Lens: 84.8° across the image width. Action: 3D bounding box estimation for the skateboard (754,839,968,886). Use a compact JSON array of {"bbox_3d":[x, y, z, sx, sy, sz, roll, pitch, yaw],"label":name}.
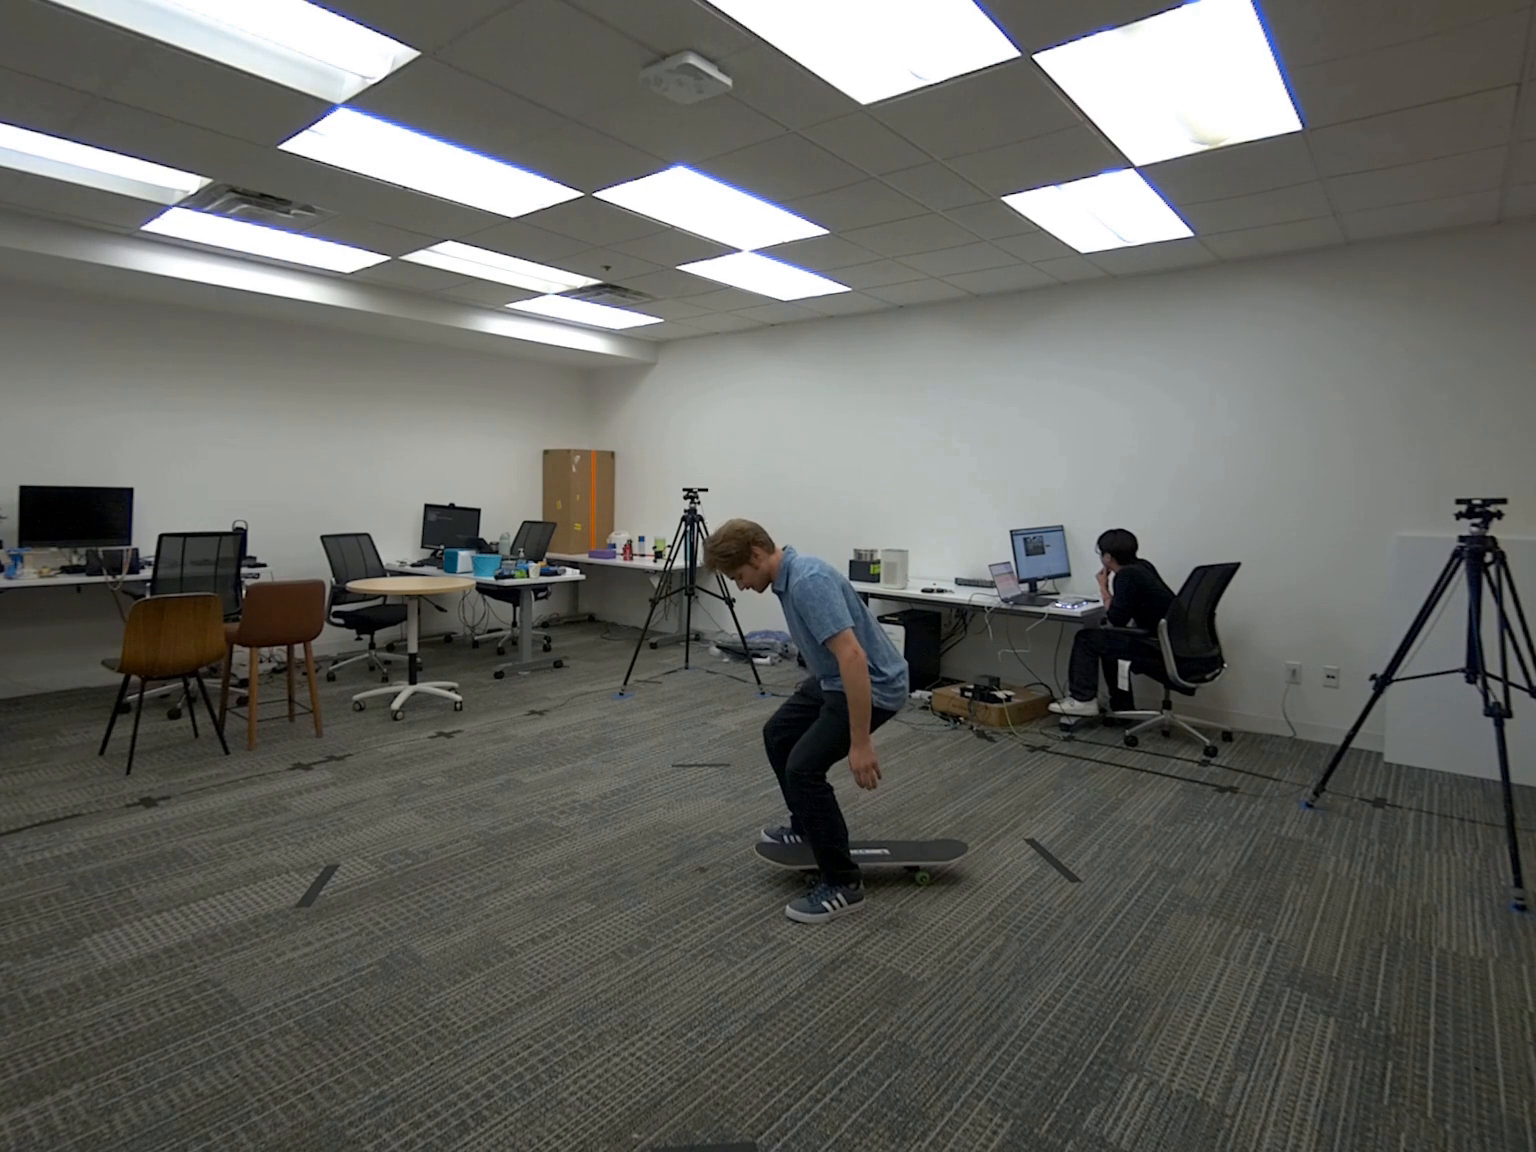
[{"bbox_3d":[0.334,1.026,3.078,0.780,0.110,0.195,1,5,-6],"label":"skateboard"}]
